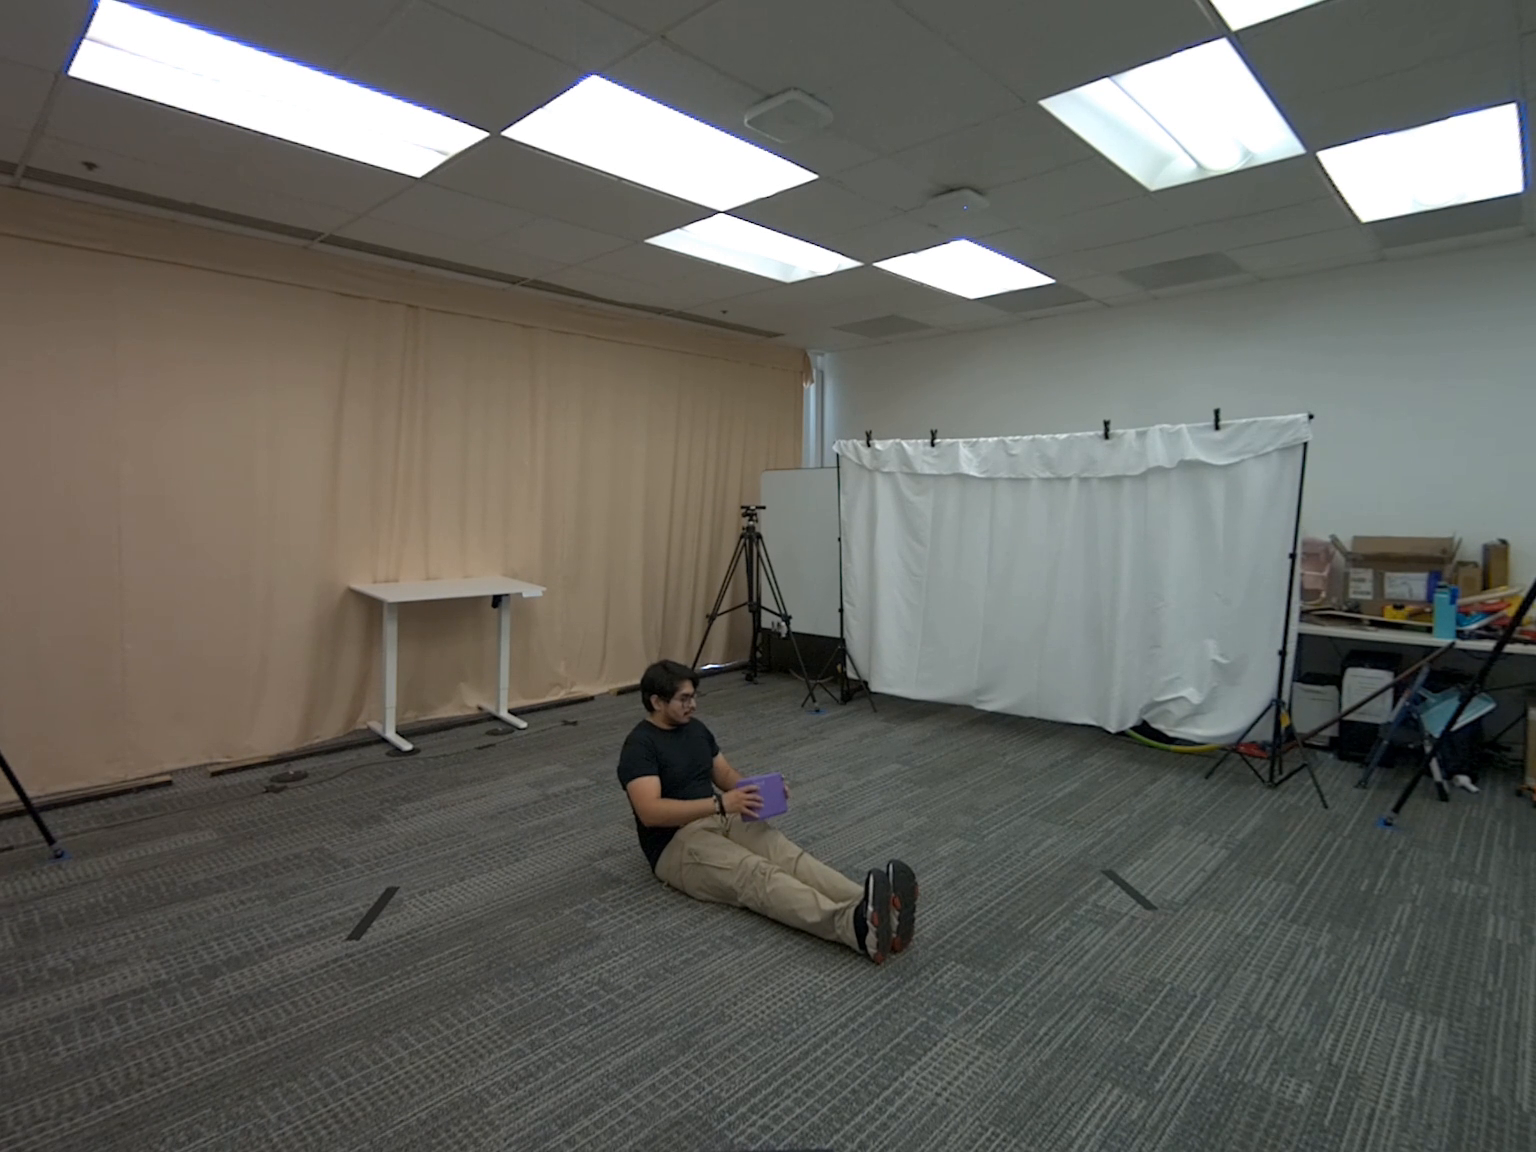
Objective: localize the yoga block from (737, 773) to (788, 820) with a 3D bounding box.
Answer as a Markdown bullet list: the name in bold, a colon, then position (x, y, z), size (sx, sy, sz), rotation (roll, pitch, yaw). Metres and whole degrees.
- **yoga block**: position (-0.025, 0.810, 3.079), size (0.078, 0.150, 0.222), rotation (-16, -13, 30)
